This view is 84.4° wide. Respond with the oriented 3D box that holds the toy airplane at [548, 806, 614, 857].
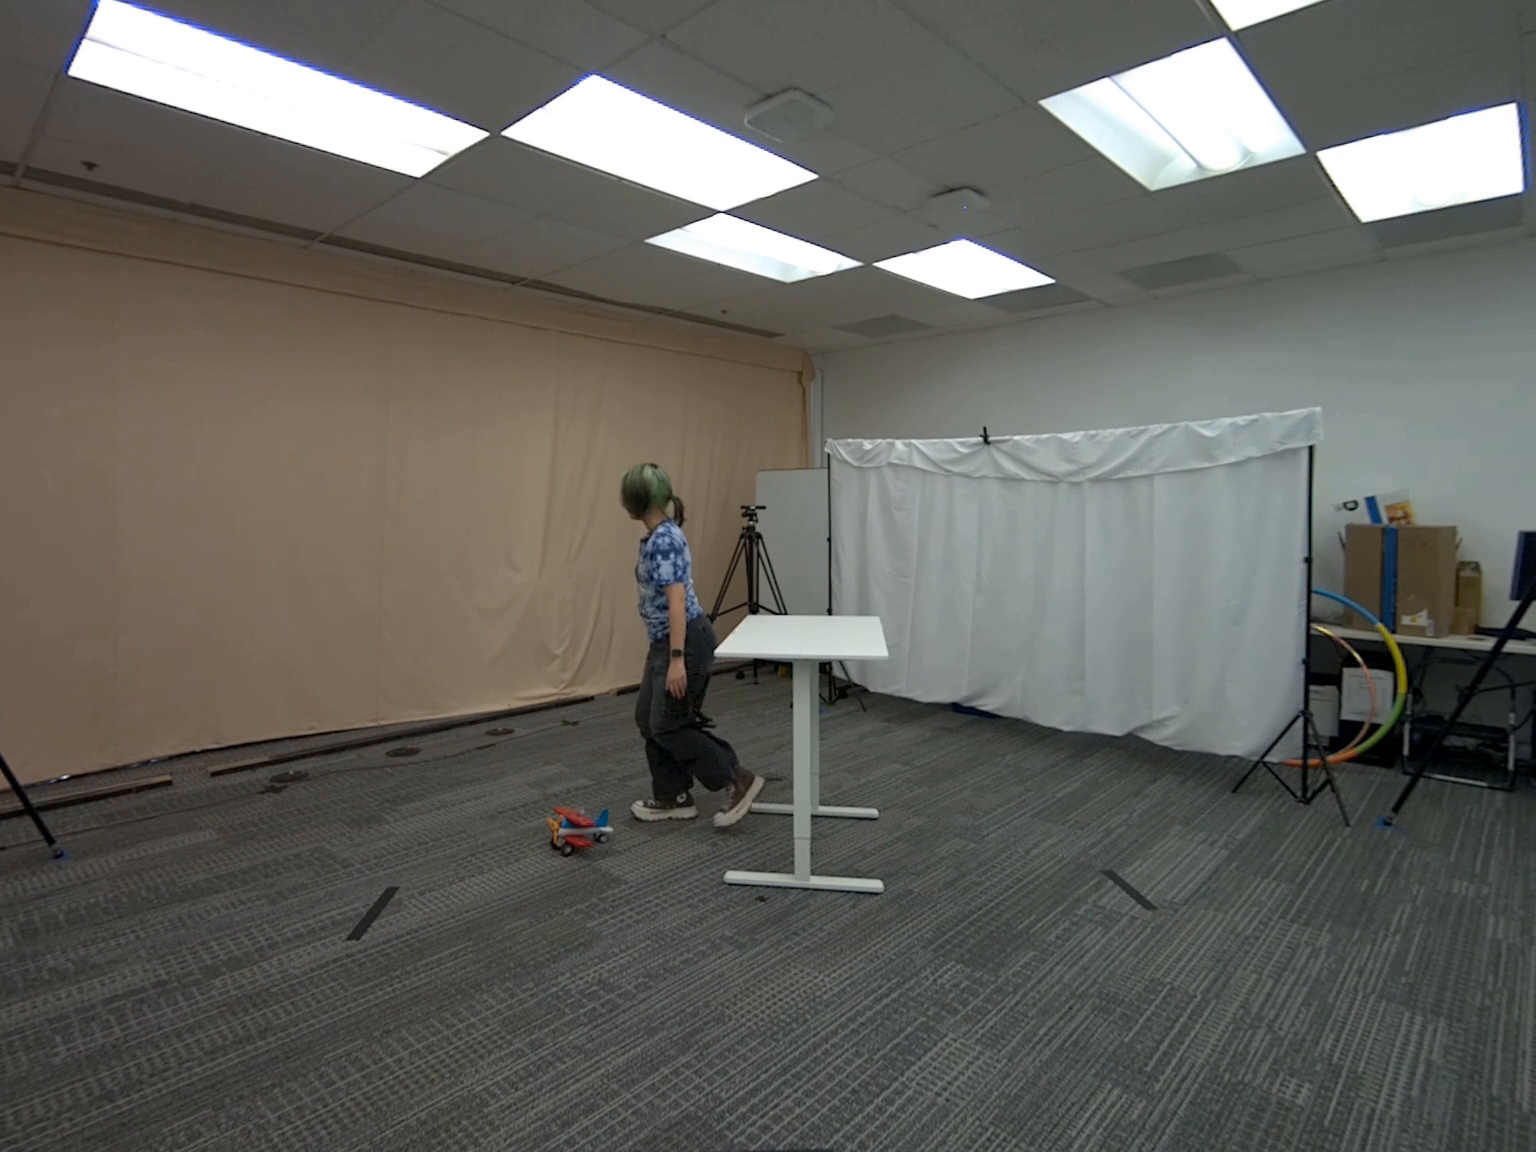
[{"bbox_3d":[-0.786,1.037,3.466,0.257,0.156,0.254,1,6,22],"label":"toy airplane"}]
